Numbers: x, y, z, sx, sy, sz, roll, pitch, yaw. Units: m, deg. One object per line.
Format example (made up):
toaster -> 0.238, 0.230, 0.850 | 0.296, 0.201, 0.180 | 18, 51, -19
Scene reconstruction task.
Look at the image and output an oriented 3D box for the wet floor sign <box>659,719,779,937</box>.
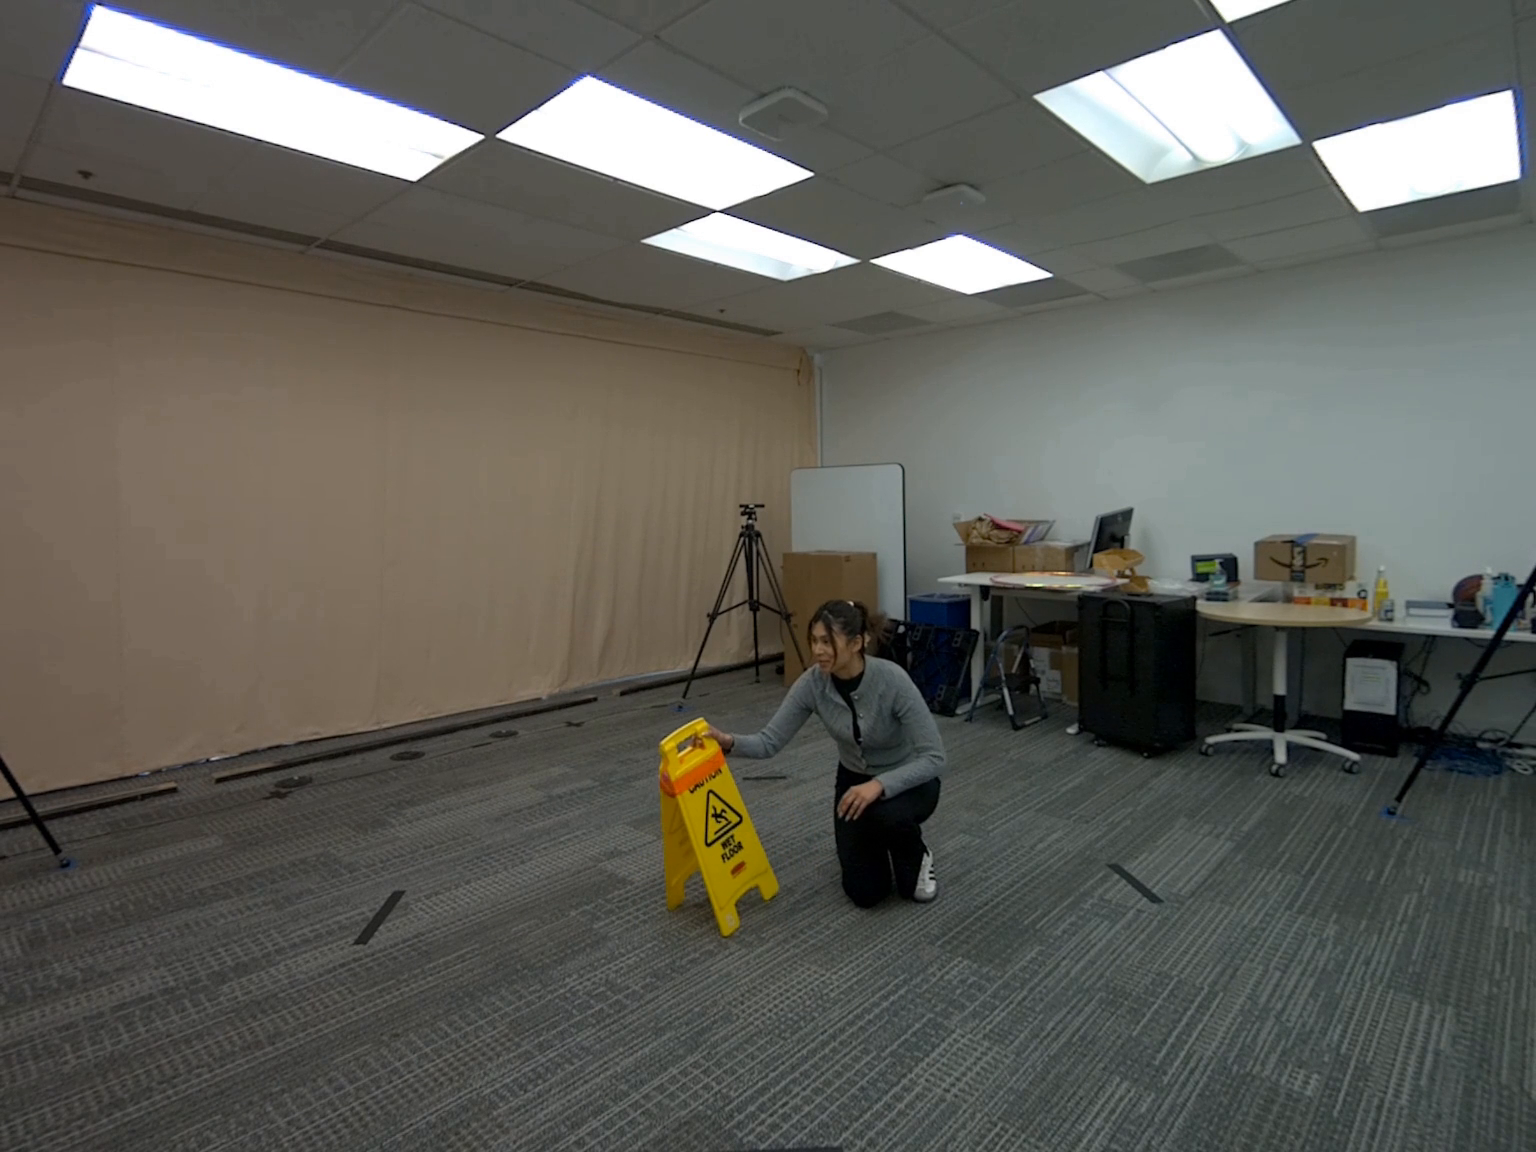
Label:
wet floor sign -> -0.212, 0.815, 2.832 | 0.299, 0.640, 0.276 | -1, 16, 44
